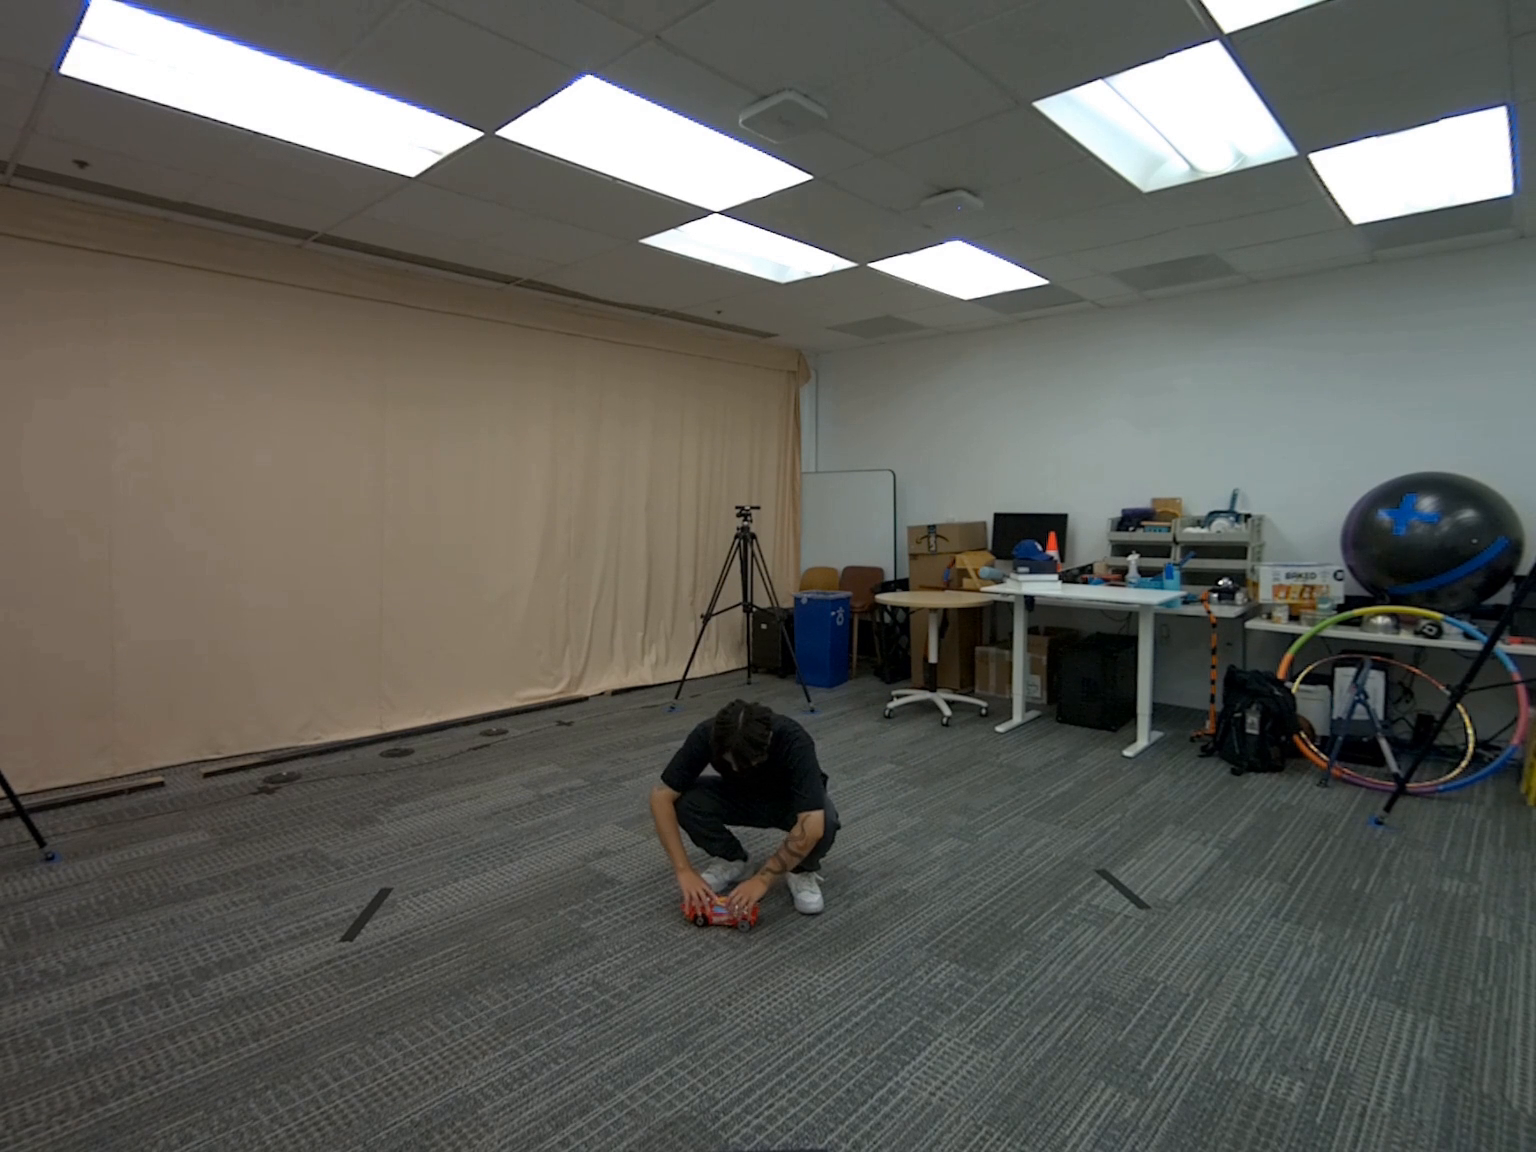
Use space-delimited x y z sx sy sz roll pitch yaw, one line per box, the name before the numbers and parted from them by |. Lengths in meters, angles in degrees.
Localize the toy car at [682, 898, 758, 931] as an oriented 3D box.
toy car | -0.168 1.119 2.831 0.258 0.083 0.129 12 9 11
